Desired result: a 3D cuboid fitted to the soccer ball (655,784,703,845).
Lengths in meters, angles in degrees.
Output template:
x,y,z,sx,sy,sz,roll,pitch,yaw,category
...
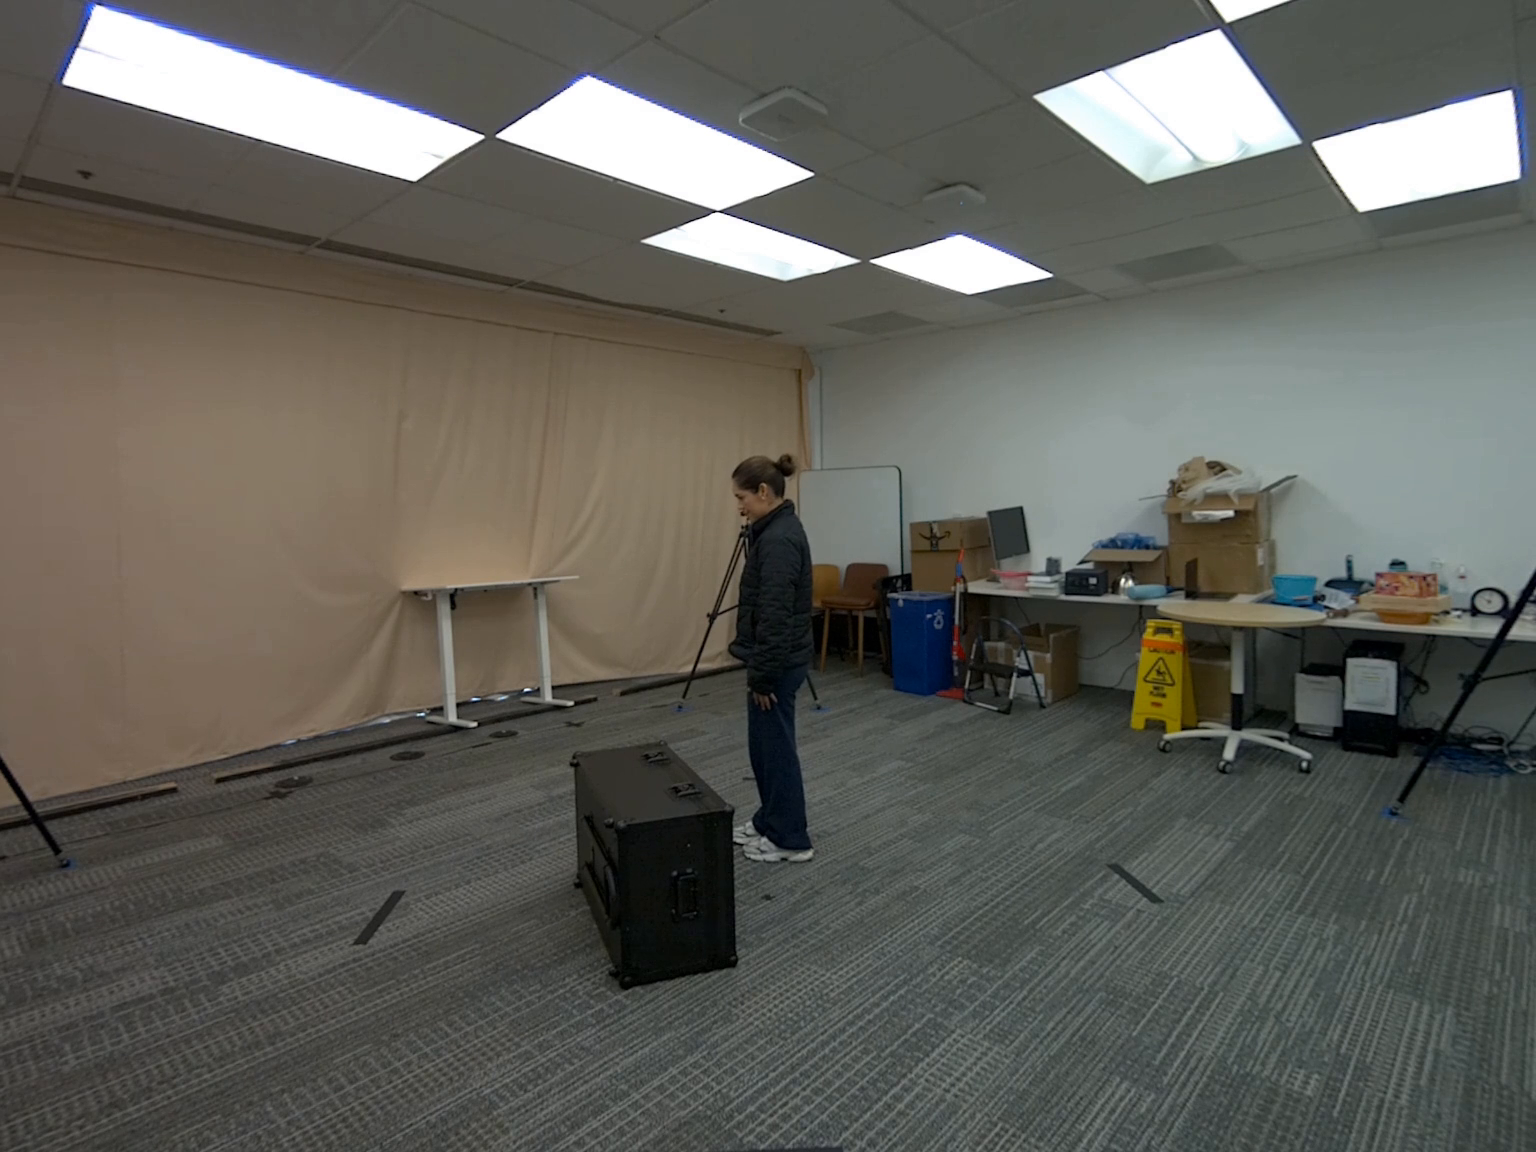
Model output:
x,y,z,sx,sy,sz,roll,pitch,yaw,category
-0.375,1.005,3.590,0.187,0.187,0.188,-1,4,-2,soccer ball
